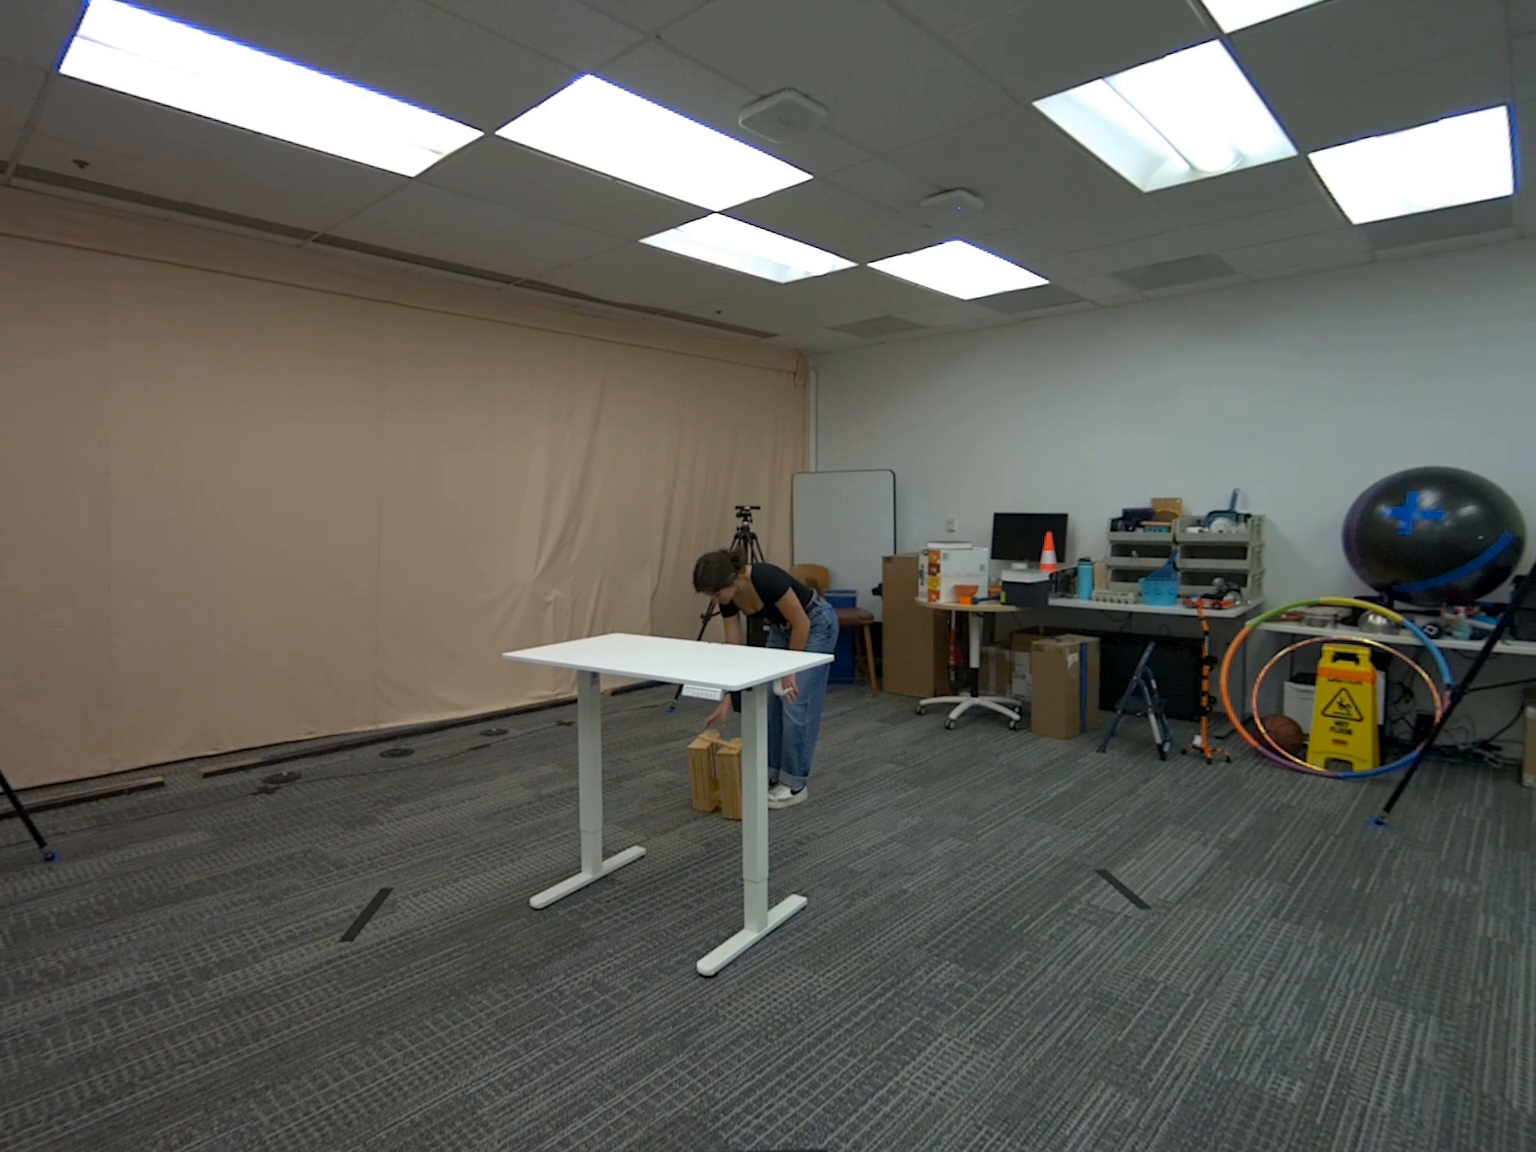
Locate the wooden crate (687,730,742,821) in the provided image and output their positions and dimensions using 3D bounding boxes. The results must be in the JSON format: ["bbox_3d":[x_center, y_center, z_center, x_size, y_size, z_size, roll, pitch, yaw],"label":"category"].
[{"bbox_3d":[-0.200,0.907,3.890,0.279,0.323,0.297,-2,8,21],"label":"wooden crate"}]
